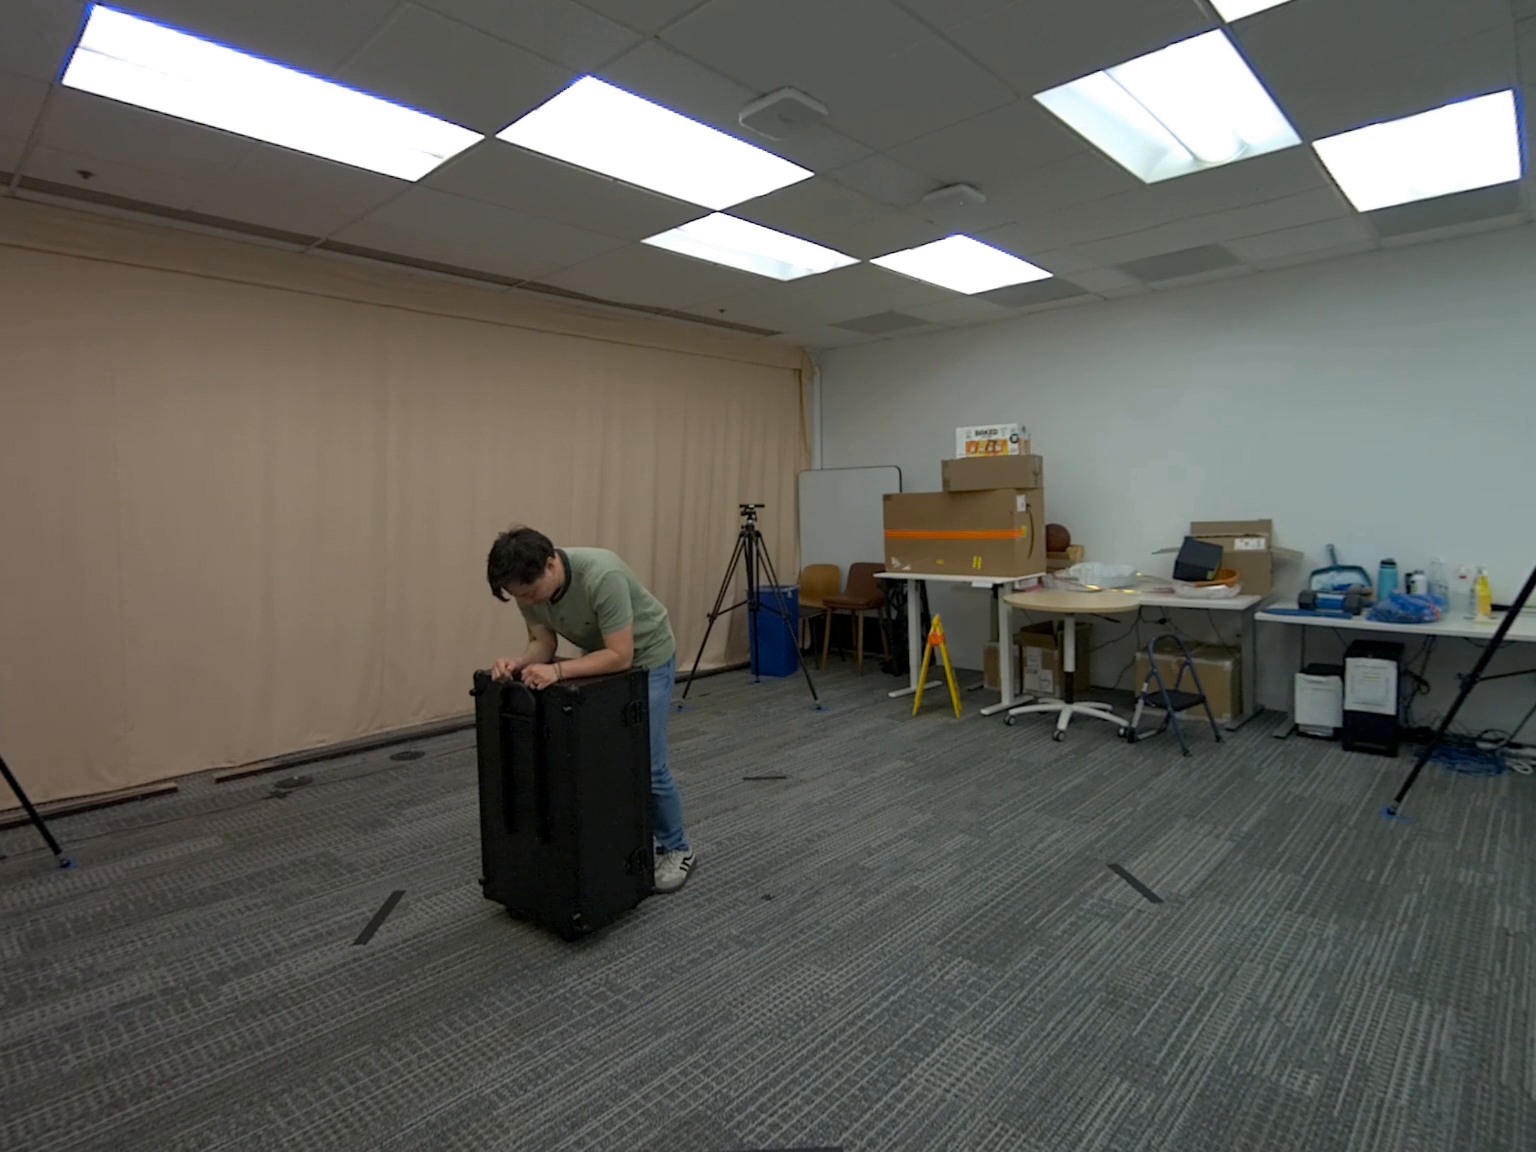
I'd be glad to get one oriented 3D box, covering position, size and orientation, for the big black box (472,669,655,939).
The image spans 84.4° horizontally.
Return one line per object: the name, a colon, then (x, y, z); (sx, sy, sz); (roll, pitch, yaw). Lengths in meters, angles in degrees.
big black box: (-0.697, 0.747, 2.840); (0.537, 0.859, 0.385); (1, 5, 35)
